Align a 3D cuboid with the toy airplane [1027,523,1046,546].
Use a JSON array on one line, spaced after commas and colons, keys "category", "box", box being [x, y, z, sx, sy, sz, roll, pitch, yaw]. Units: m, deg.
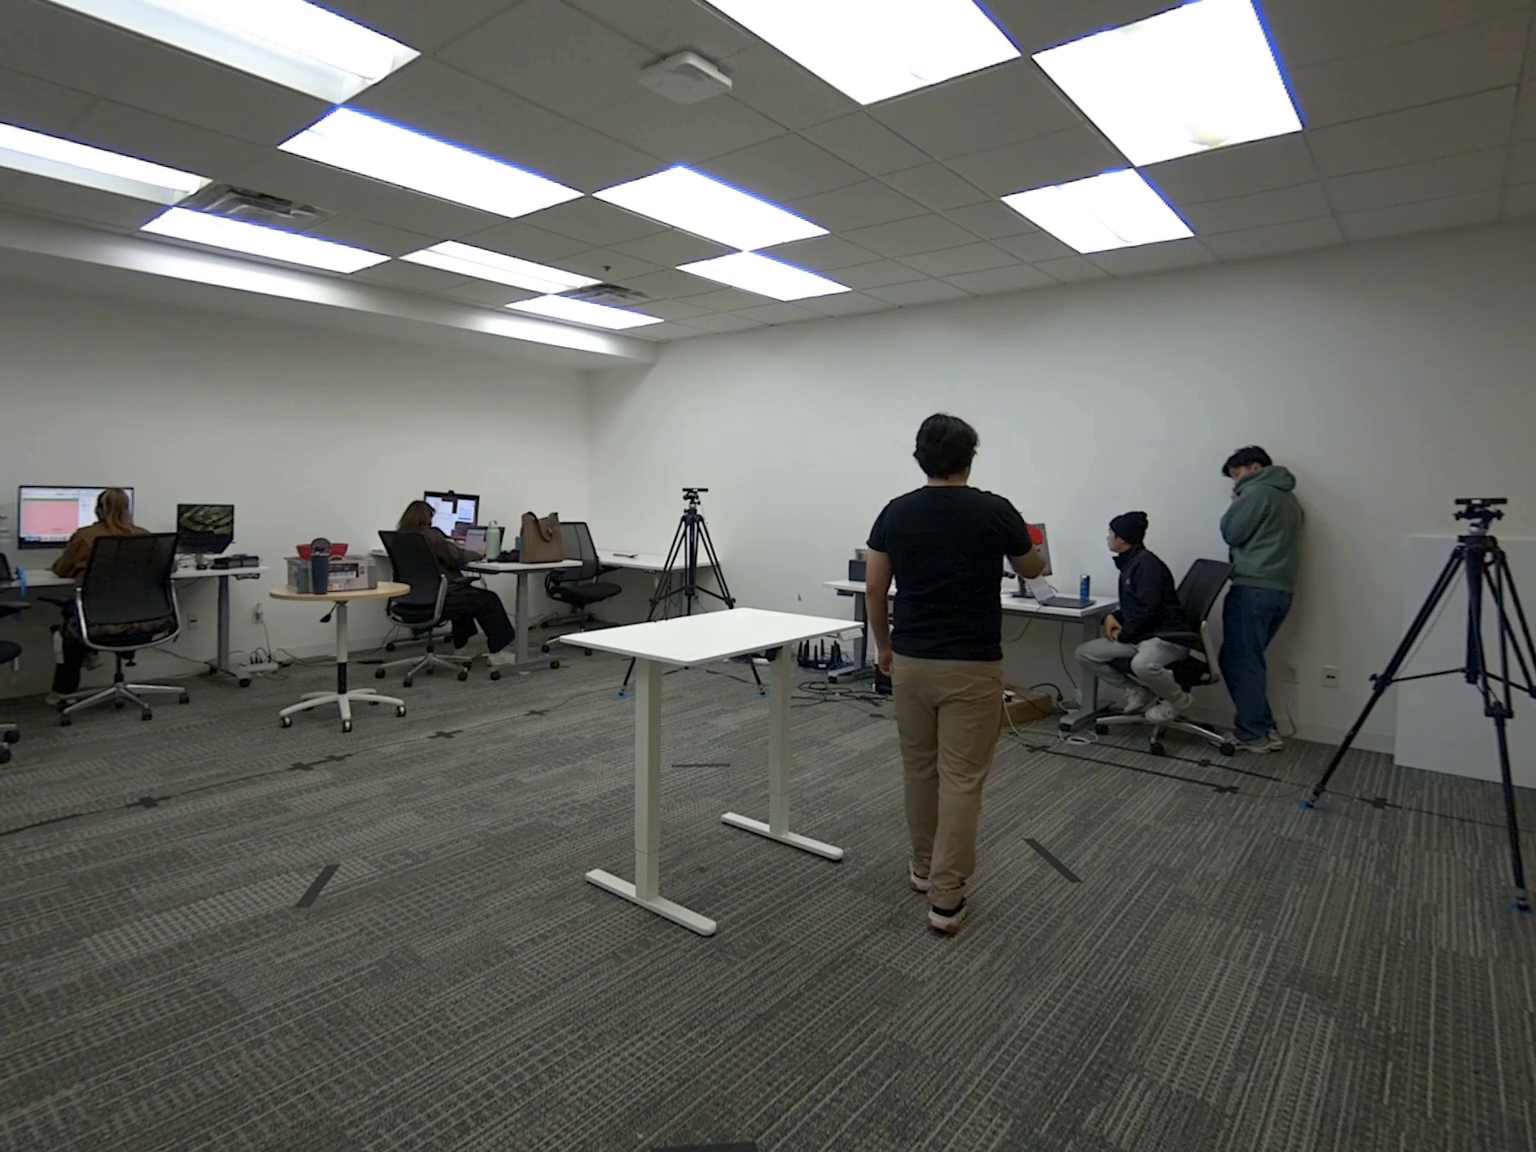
[{"category": "toy airplane", "box": [0.923, -0.123, 3.295, 0.245, 0.155, 0.268, -12, 55, -40]}]
